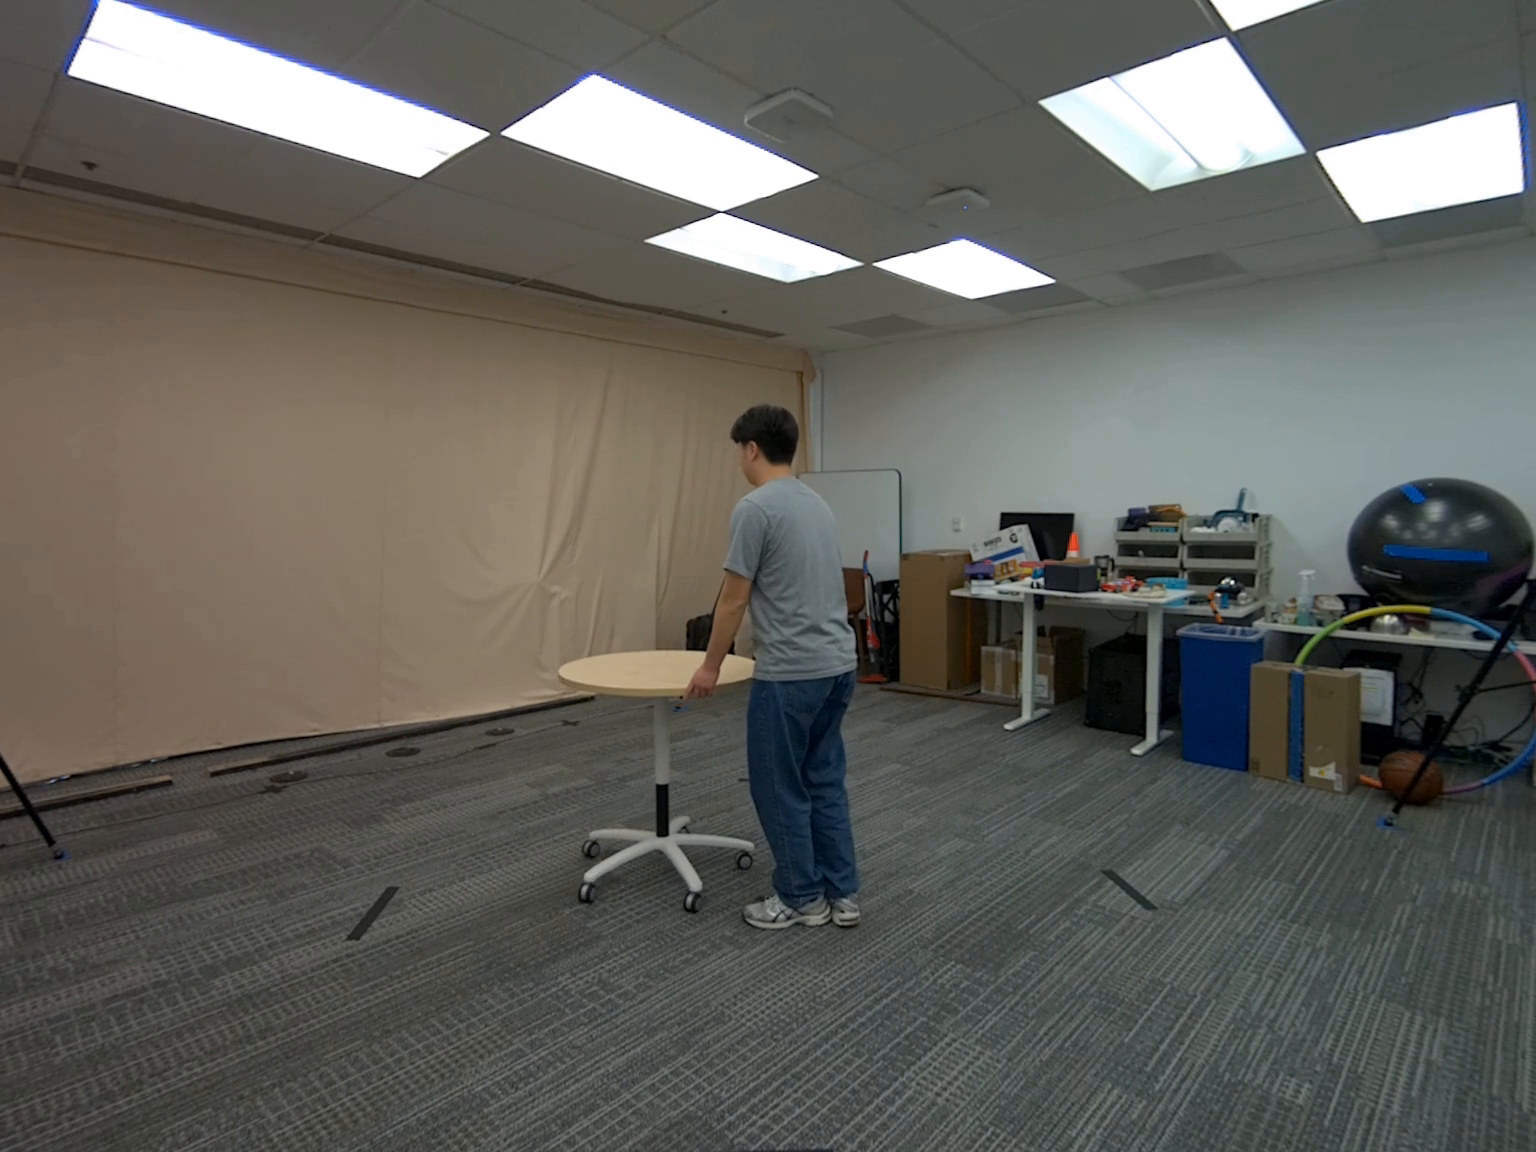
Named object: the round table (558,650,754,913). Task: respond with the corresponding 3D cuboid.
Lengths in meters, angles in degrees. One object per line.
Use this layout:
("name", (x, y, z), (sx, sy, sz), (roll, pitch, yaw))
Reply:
("round table", (-0.397, 0.740, 3.193), (0.763, 0.792, 0.766), (0, 3, -2))
